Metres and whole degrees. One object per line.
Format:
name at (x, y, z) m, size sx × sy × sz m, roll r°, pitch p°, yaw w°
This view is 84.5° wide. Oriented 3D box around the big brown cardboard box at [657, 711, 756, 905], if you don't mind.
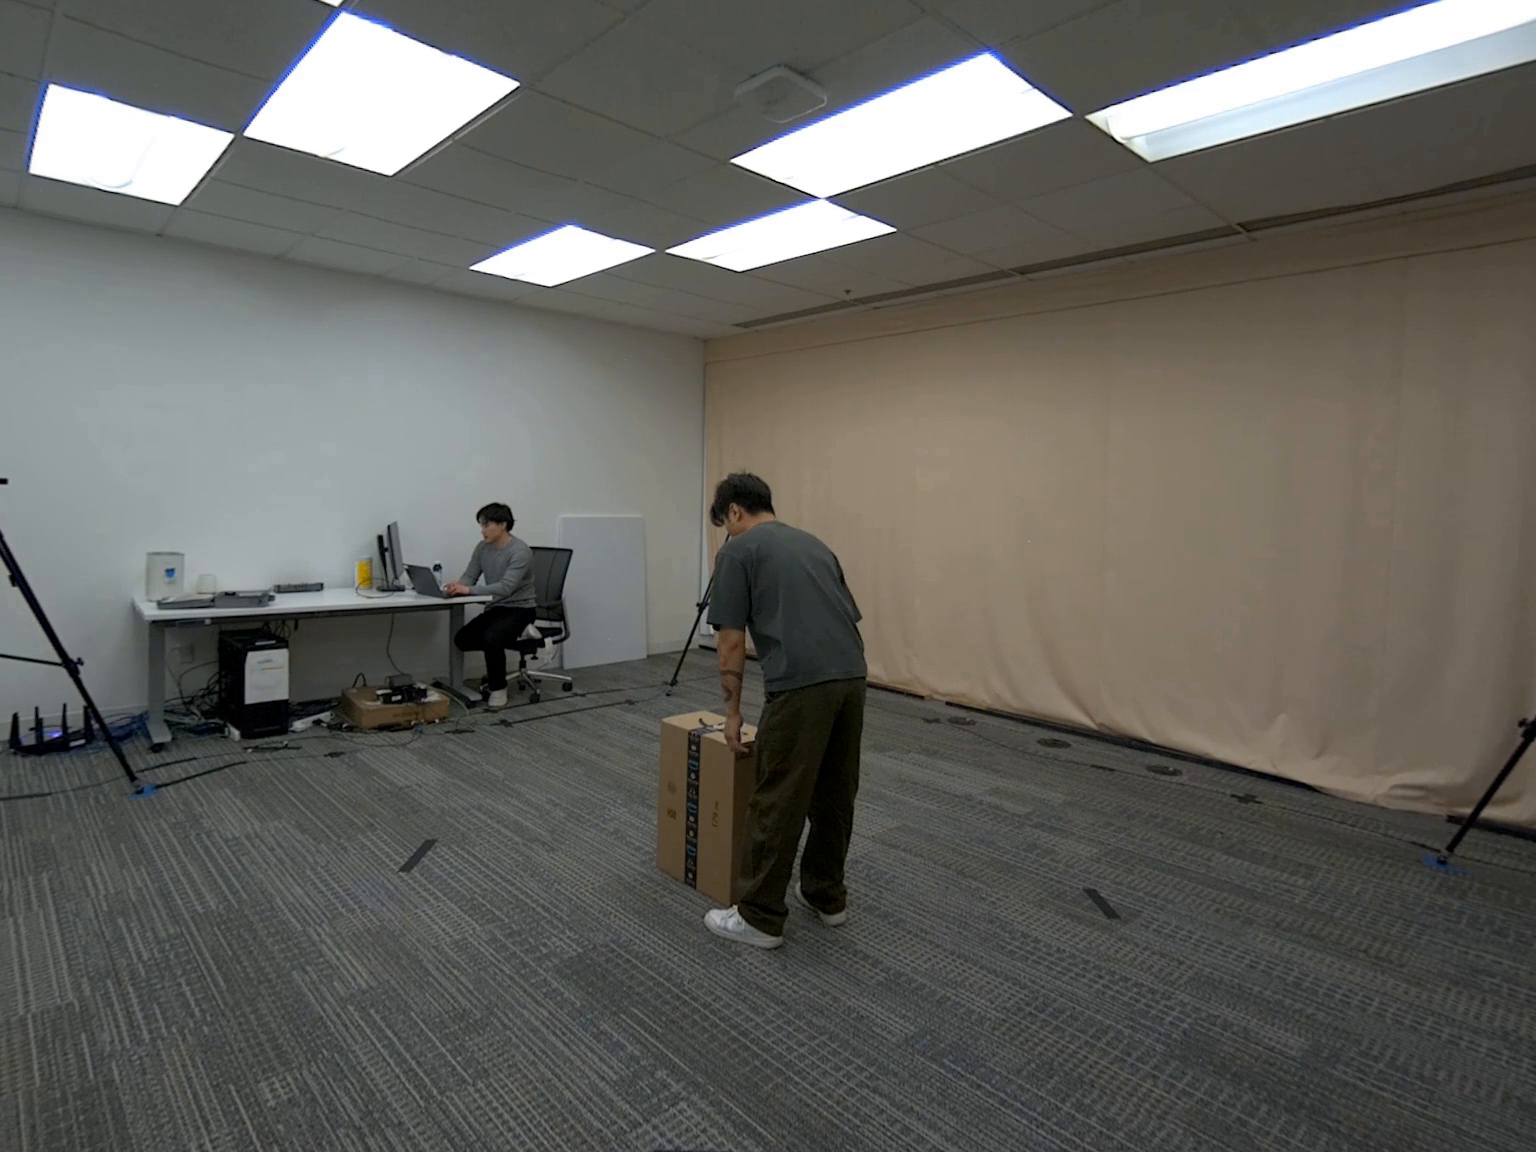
big brown cardboard box at (-0.193, 0.822, 3.060) m, size 0.228 × 0.587 × 0.428 m, roll -1°, pitch 6°, yaw -43°
